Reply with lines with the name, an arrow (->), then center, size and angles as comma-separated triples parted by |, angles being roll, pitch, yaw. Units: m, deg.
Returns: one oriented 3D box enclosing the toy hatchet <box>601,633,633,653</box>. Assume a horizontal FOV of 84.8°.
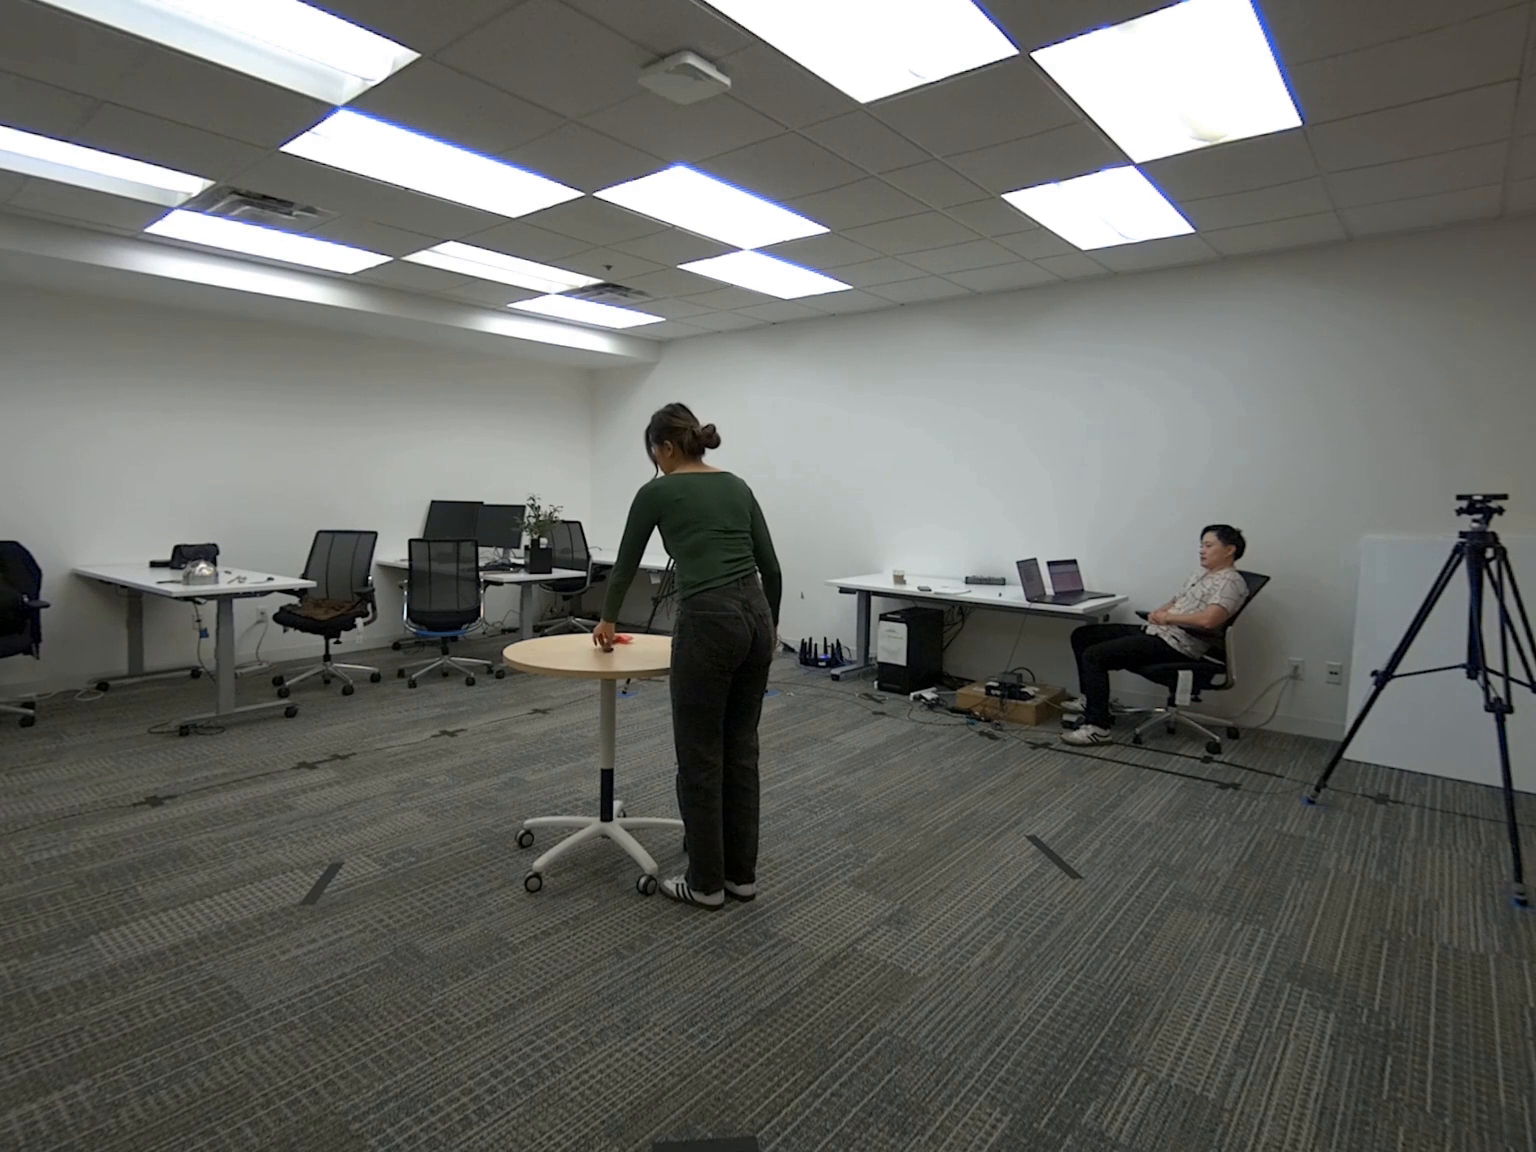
toy hatchet -> -0.576, 0.255, 3.233 | 0.129, 0.029, 0.275 | 1, 7, -14
